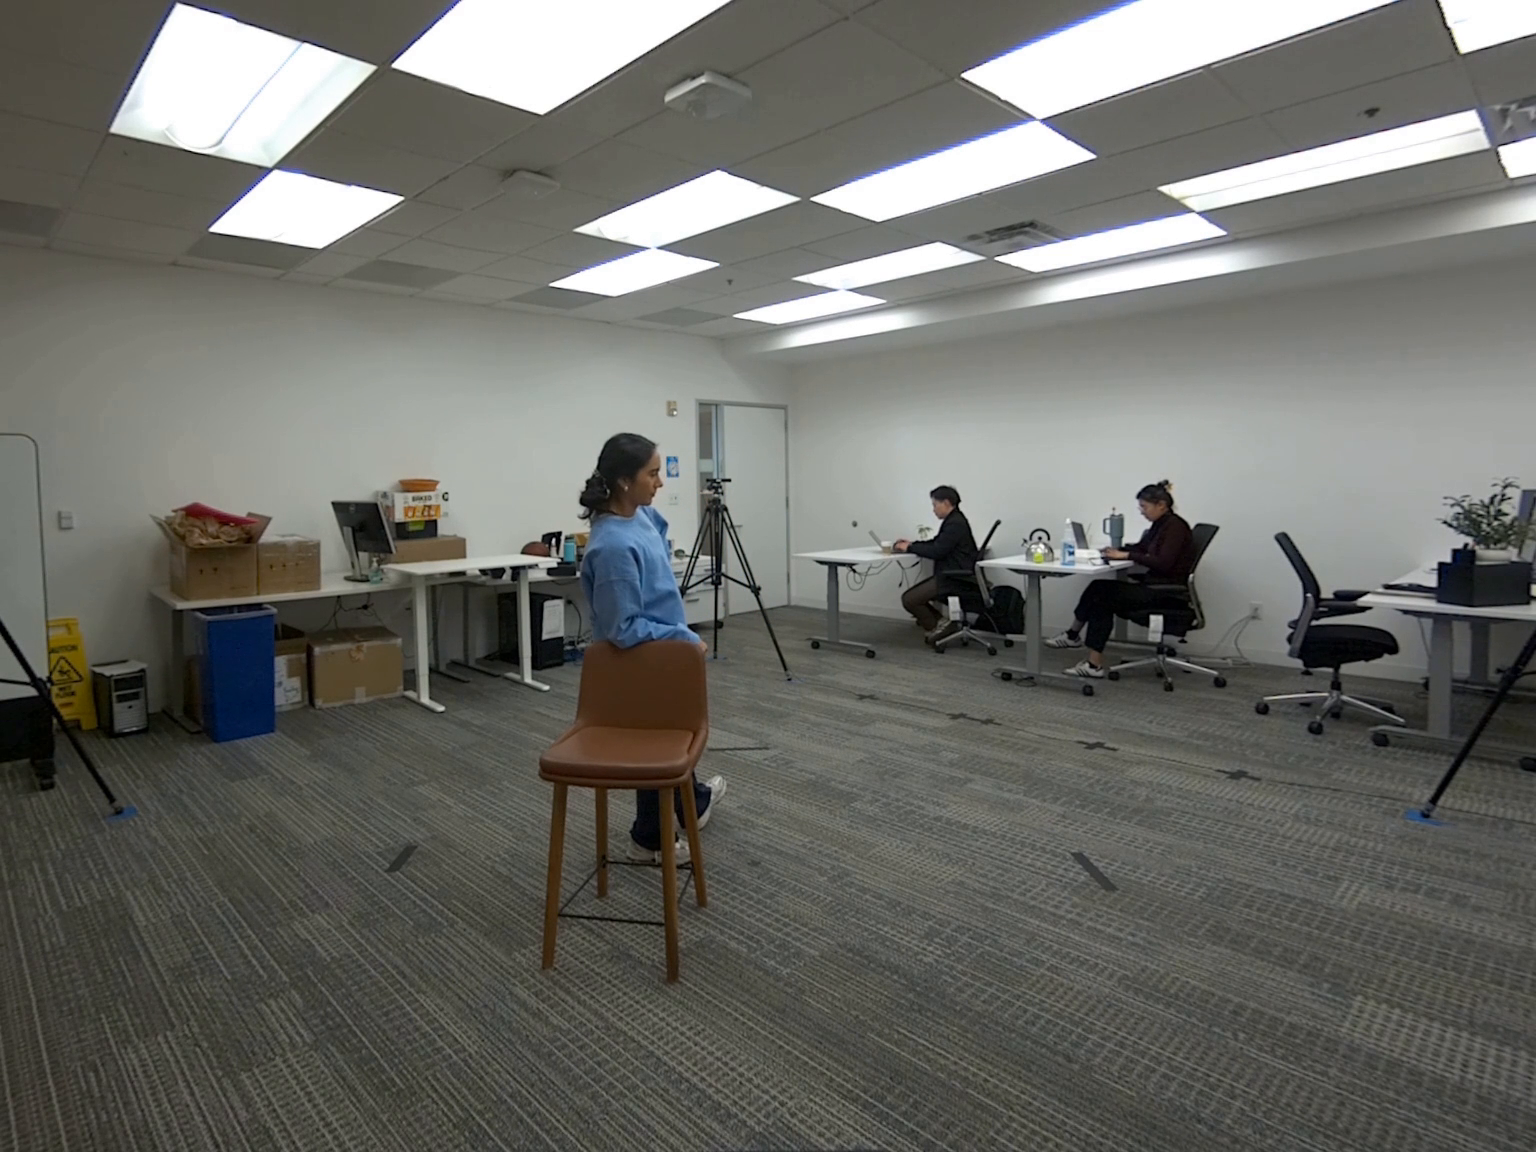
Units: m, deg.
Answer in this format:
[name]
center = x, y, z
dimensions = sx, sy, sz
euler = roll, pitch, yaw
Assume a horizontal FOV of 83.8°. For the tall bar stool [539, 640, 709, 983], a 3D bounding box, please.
[tall bar stool]
center = -0.423, 0.674, 2.614
dimensions = 0.462, 0.888, 0.463
euler = 0, 2, 11
